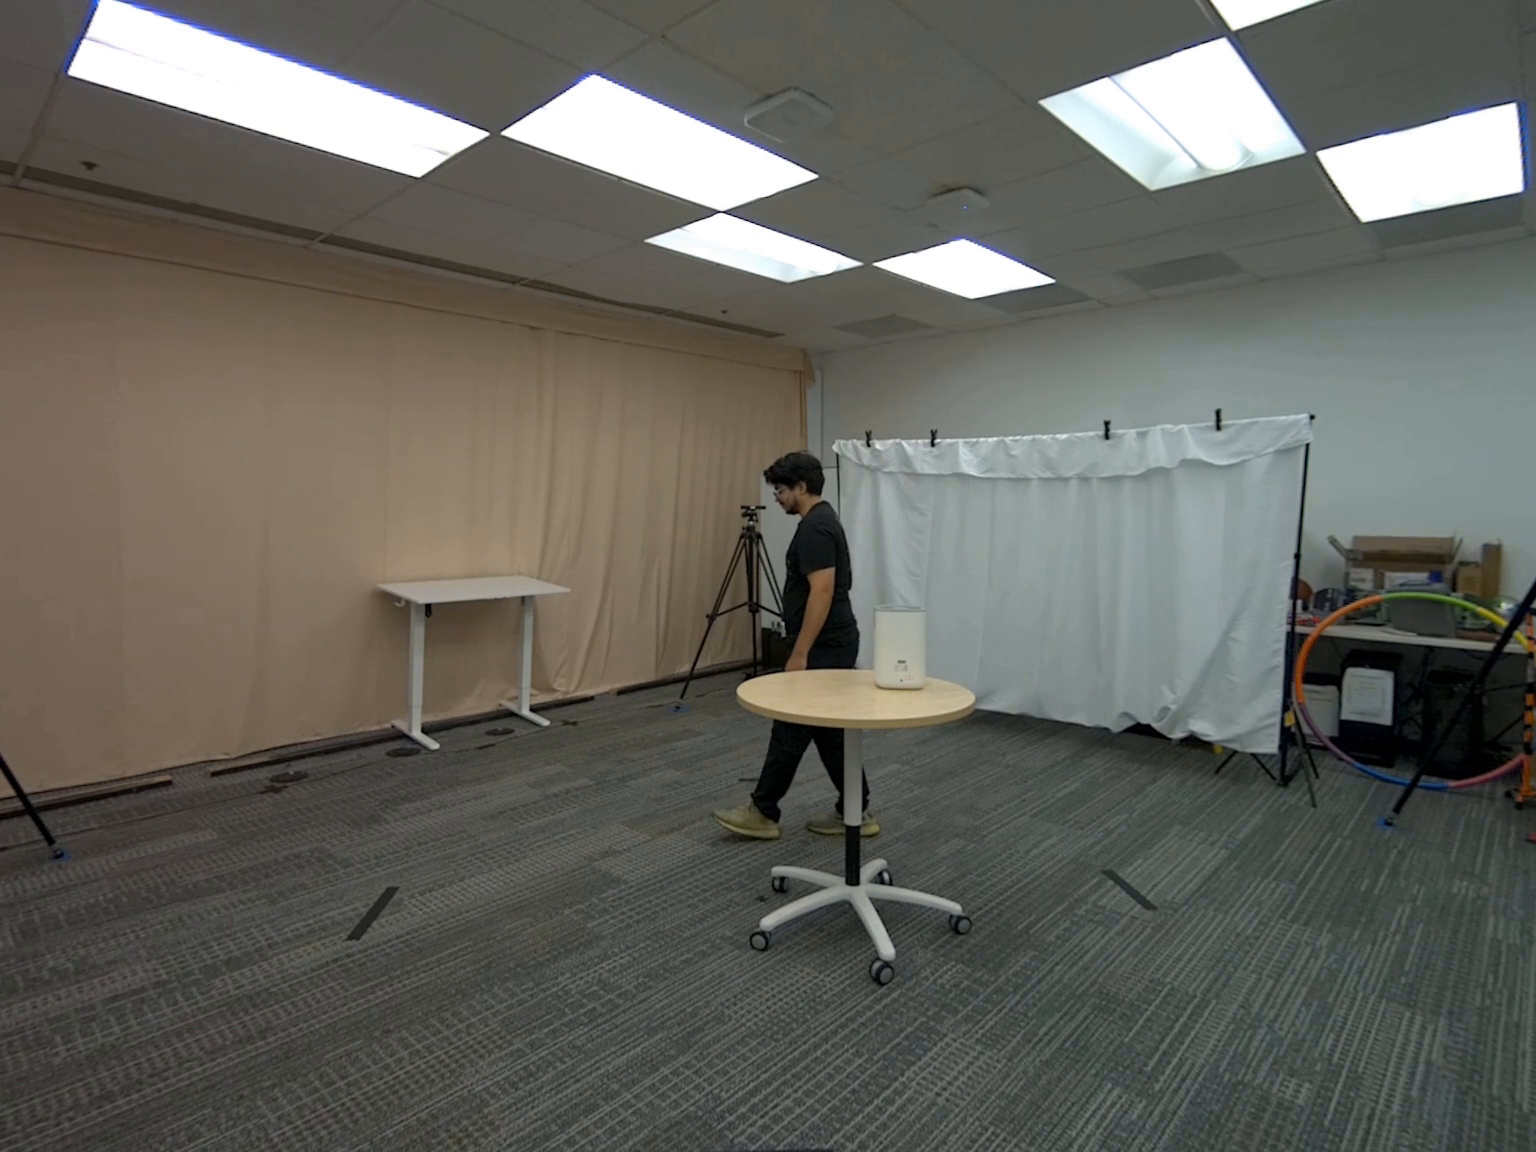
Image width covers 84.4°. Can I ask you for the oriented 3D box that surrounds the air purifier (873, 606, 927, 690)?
[{"bbox_3d":[0.447,0.235,2.837,0.172,0.264,0.171,1,5,5],"label":"air purifier"}]
